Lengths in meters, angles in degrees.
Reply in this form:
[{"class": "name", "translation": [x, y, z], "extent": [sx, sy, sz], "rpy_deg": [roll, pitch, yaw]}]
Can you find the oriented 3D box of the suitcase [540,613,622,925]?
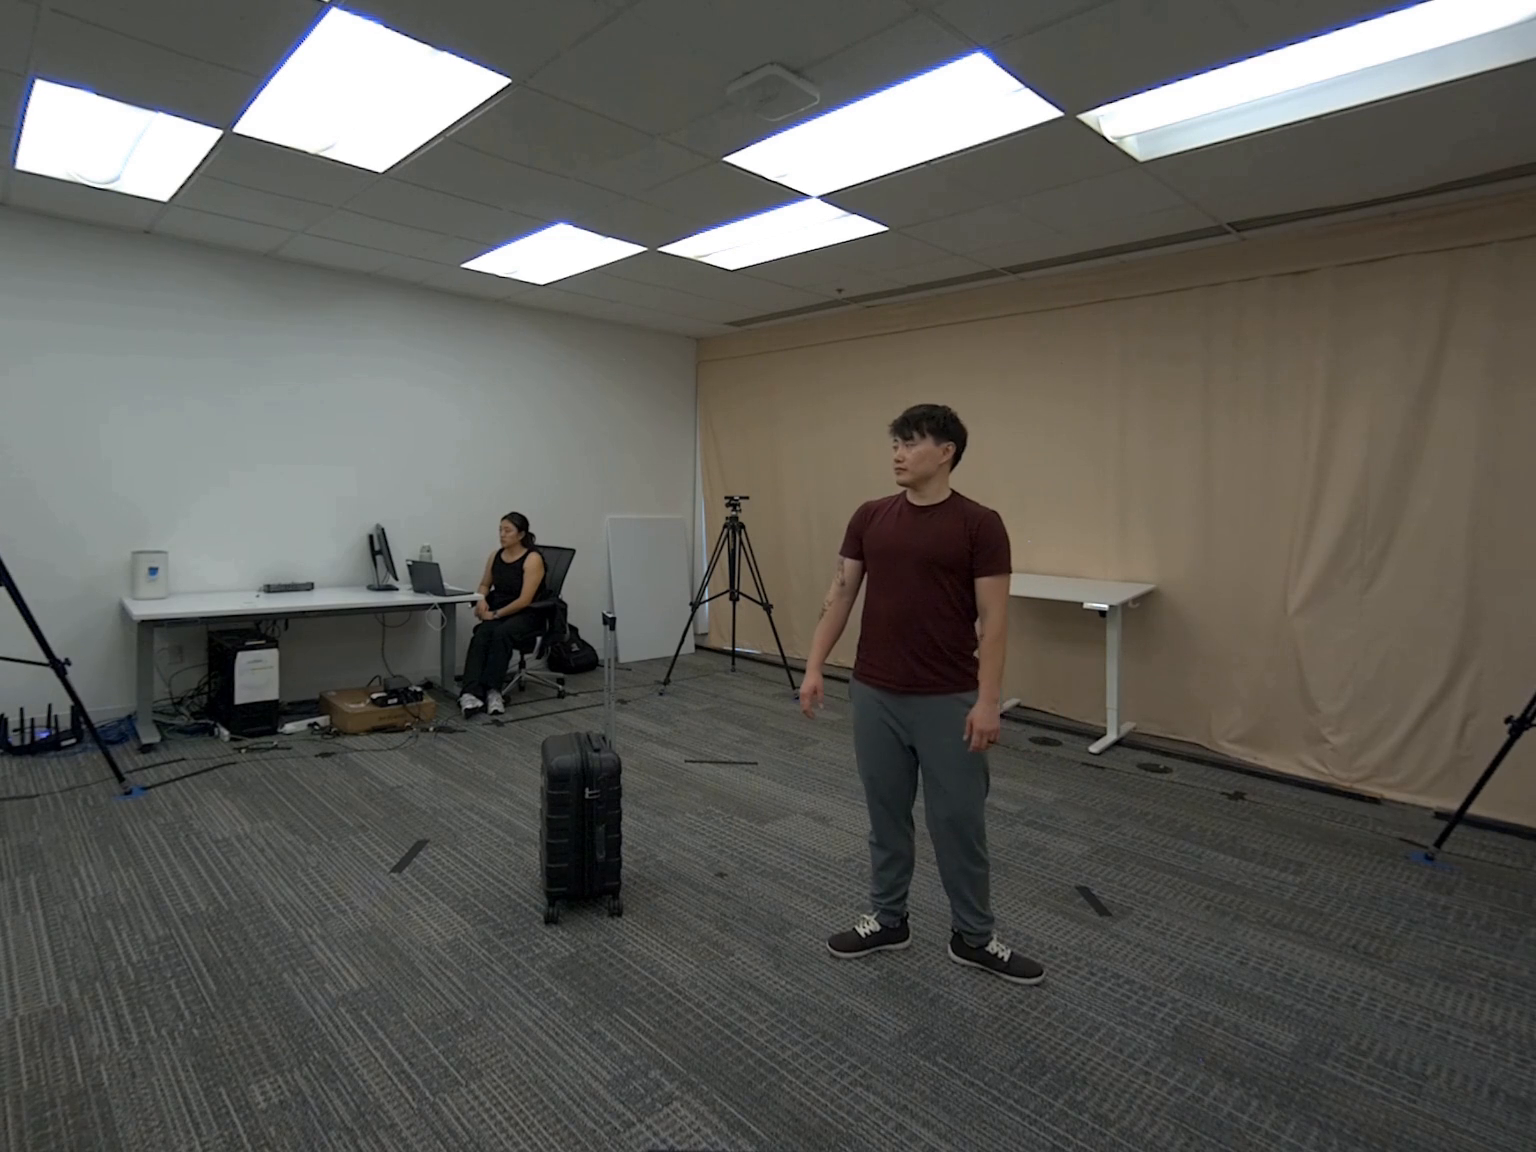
[{"class": "suitcase", "translation": [-0.653, 0.635, 2.889], "extent": [0.254, 0.976, 0.389], "rpy_deg": [-1, 3, -15]}]
